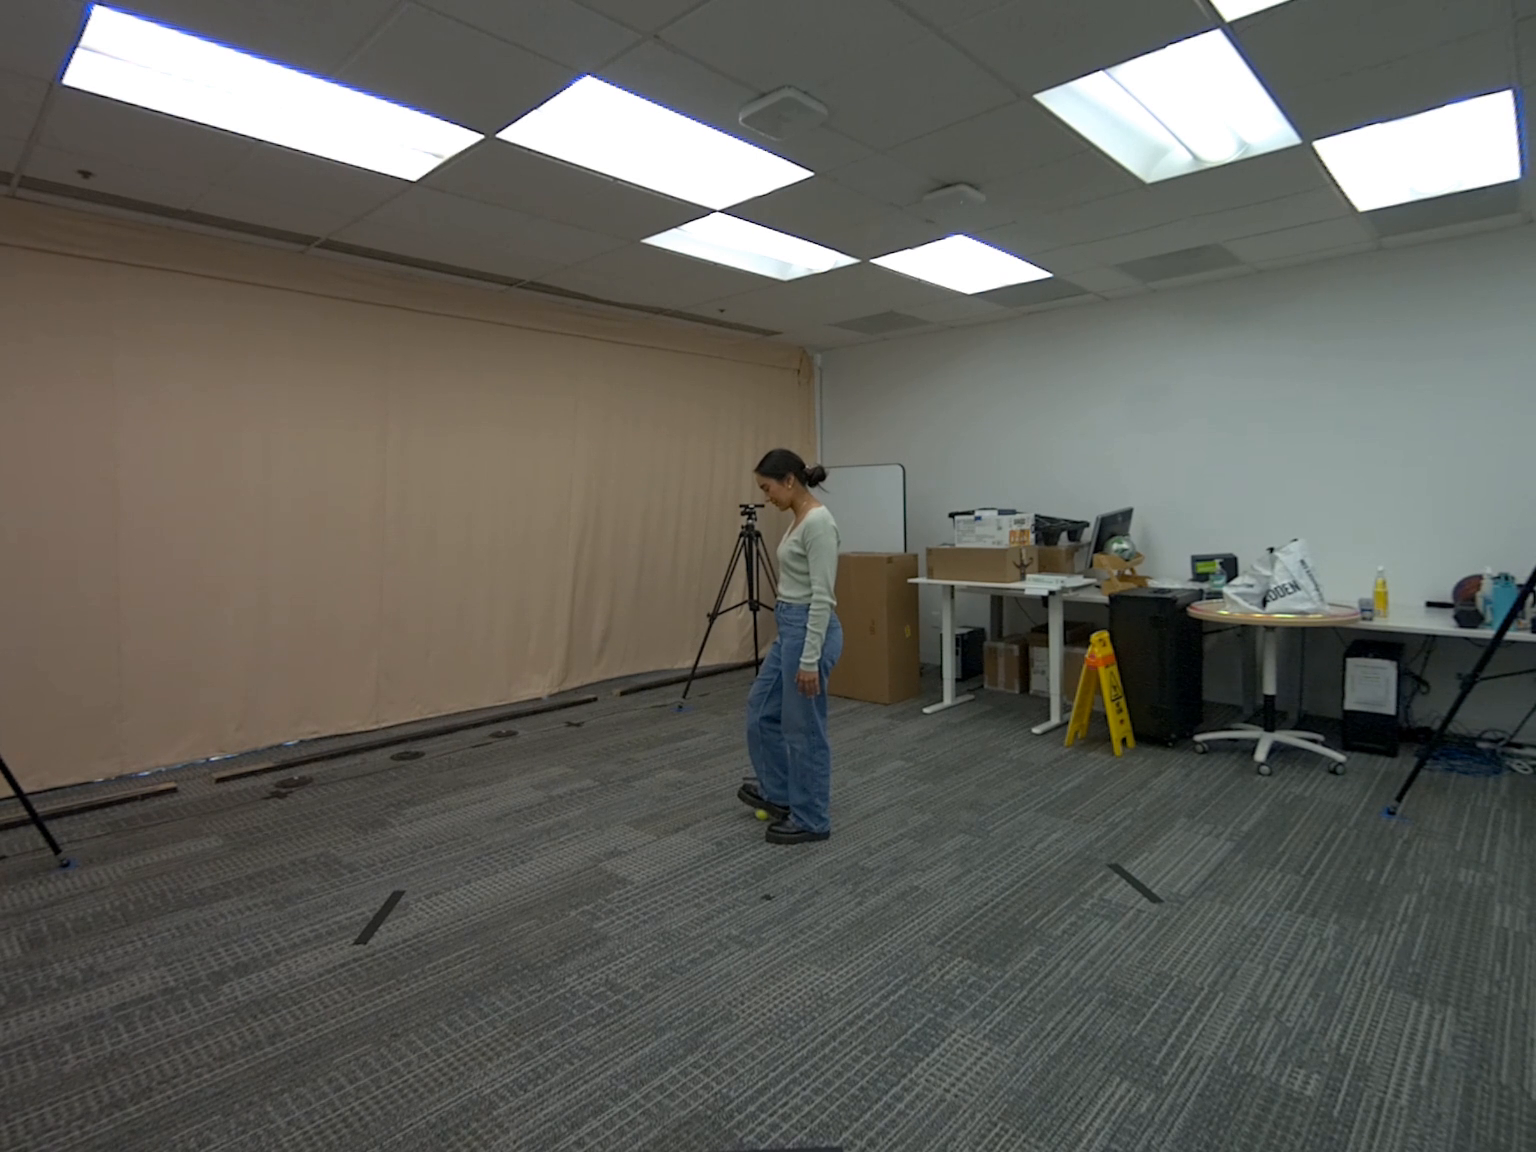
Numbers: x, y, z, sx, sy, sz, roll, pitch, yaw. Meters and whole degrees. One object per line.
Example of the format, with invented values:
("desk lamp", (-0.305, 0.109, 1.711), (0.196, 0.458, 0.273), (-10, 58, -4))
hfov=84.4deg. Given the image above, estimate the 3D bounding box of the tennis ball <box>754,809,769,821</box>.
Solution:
("tennis ball", (-0.022, 1.060, 3.742), (0.066, 0.066, 0.067), (-1, 4, -2))
